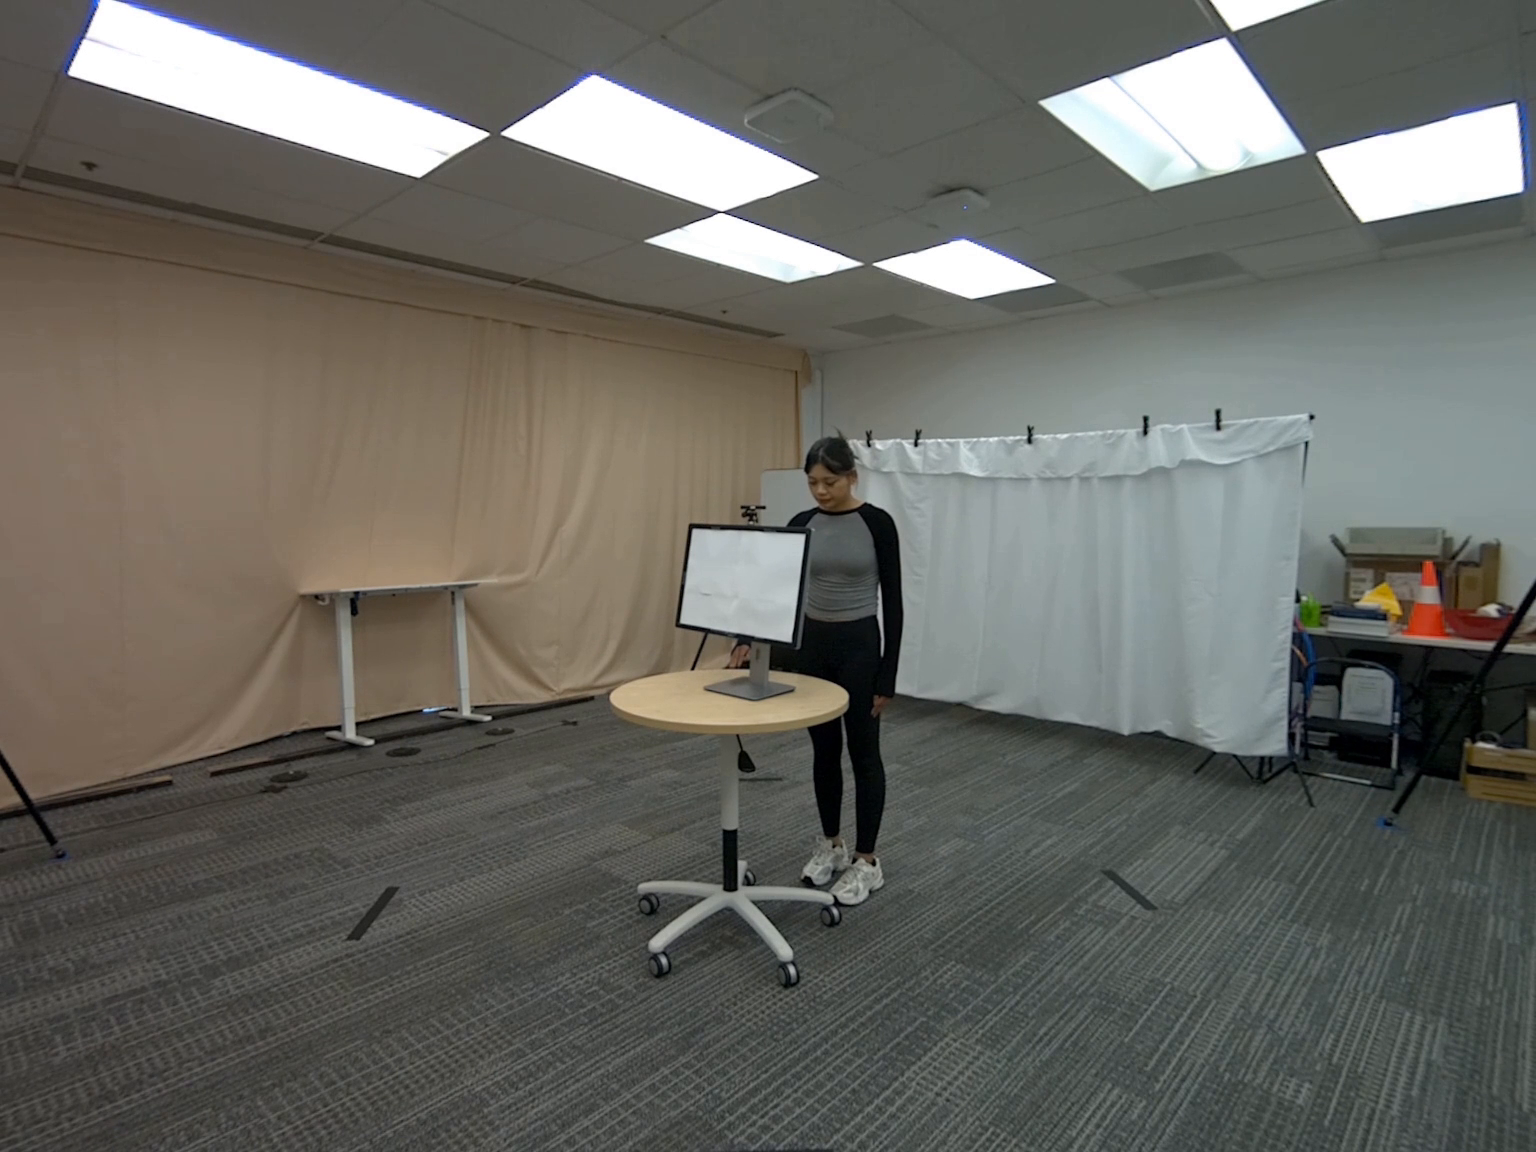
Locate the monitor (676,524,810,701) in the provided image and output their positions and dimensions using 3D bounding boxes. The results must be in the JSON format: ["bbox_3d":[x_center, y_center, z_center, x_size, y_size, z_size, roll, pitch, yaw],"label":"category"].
[{"bbox_3d":[-0.058,0.110,2.745,0.557,0.521,0.181,4,7,43],"label":"monitor"}]
